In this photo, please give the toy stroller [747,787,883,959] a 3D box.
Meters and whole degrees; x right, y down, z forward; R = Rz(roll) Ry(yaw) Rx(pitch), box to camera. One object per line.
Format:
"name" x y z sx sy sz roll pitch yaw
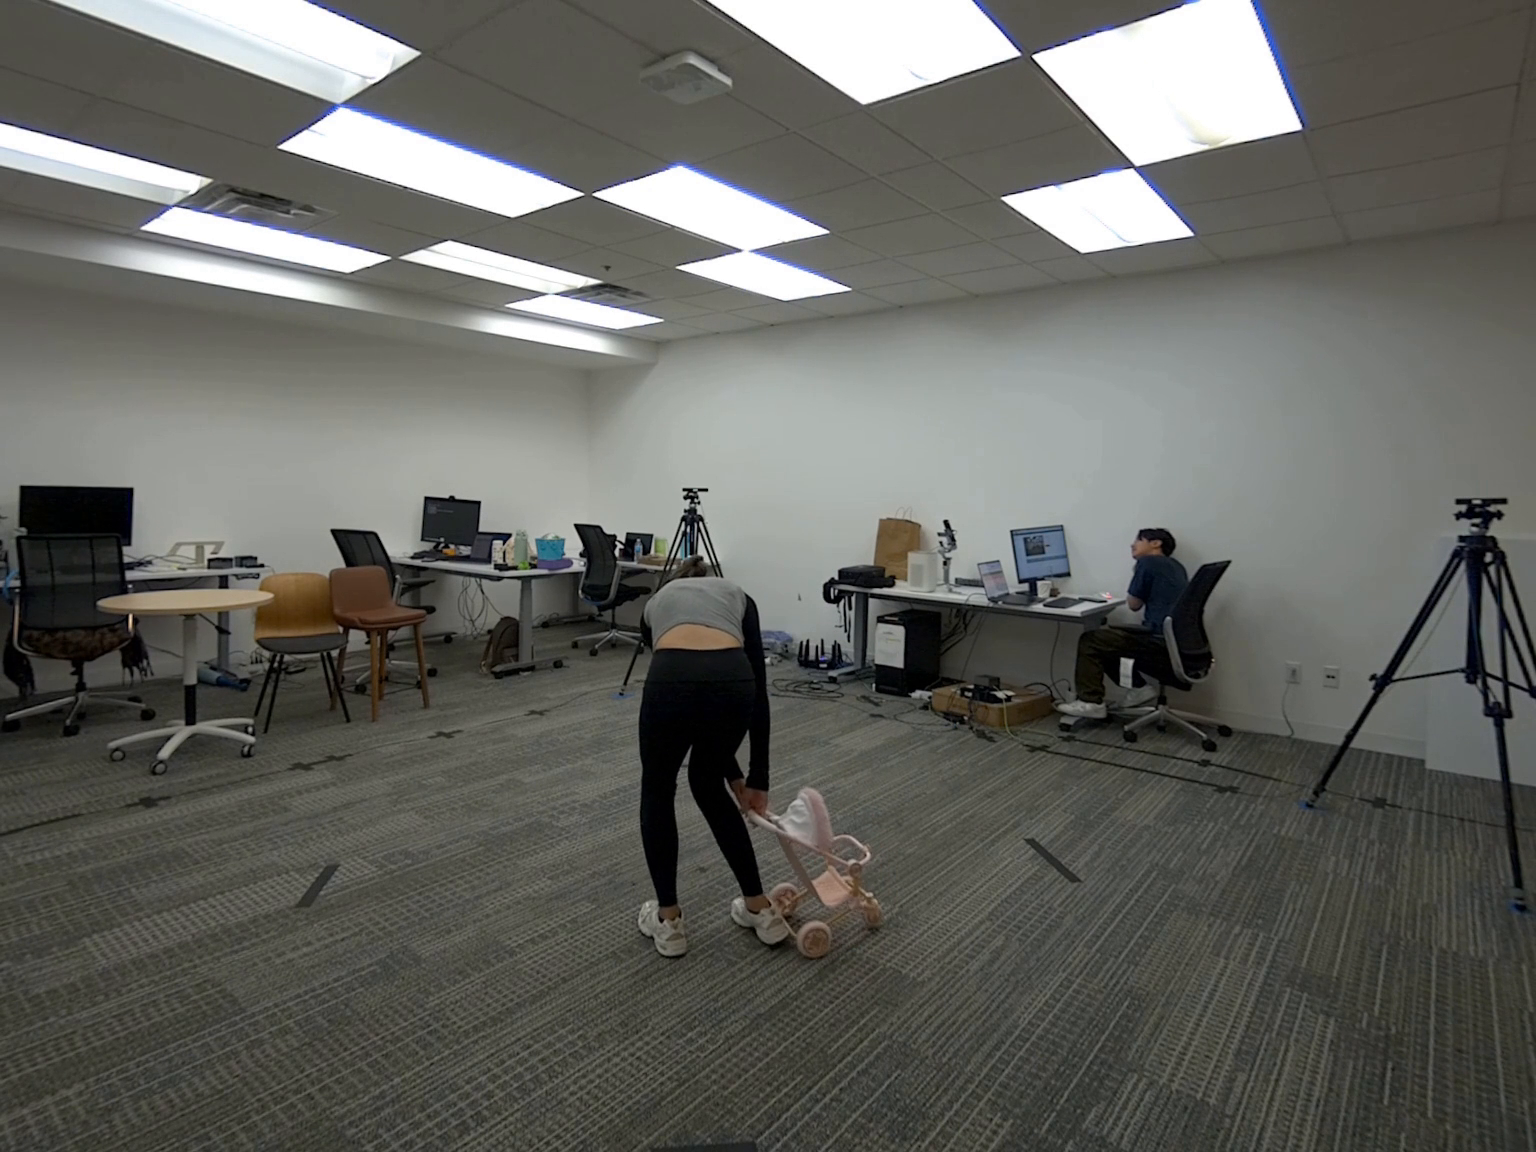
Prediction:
"toy stroller" 0.153 0.897 2.654 0.338 0.530 0.287 -17 9 -12
